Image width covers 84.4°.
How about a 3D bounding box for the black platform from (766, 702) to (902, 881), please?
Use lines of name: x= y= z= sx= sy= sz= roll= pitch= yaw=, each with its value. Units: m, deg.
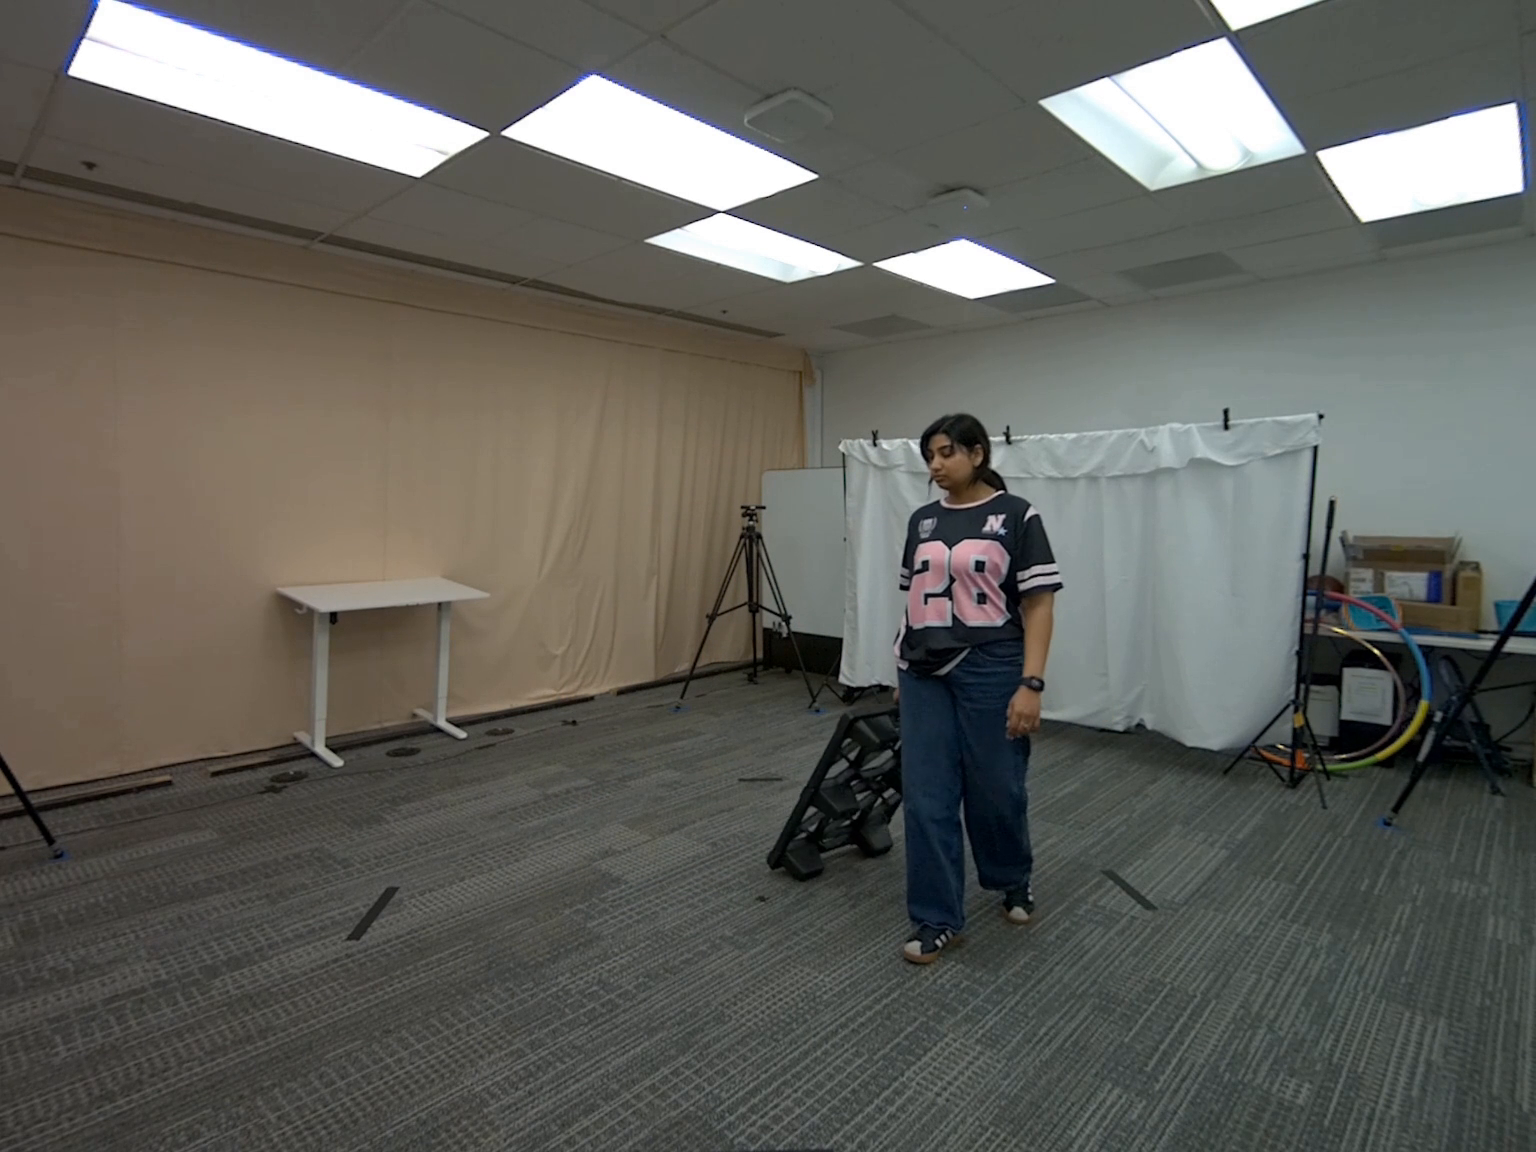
black platform: x=0.395 y=0.787 z=3.109 sx=0.587 sy=0.801 sz=0.148 roll=-2 pitch=38 yaw=-36
